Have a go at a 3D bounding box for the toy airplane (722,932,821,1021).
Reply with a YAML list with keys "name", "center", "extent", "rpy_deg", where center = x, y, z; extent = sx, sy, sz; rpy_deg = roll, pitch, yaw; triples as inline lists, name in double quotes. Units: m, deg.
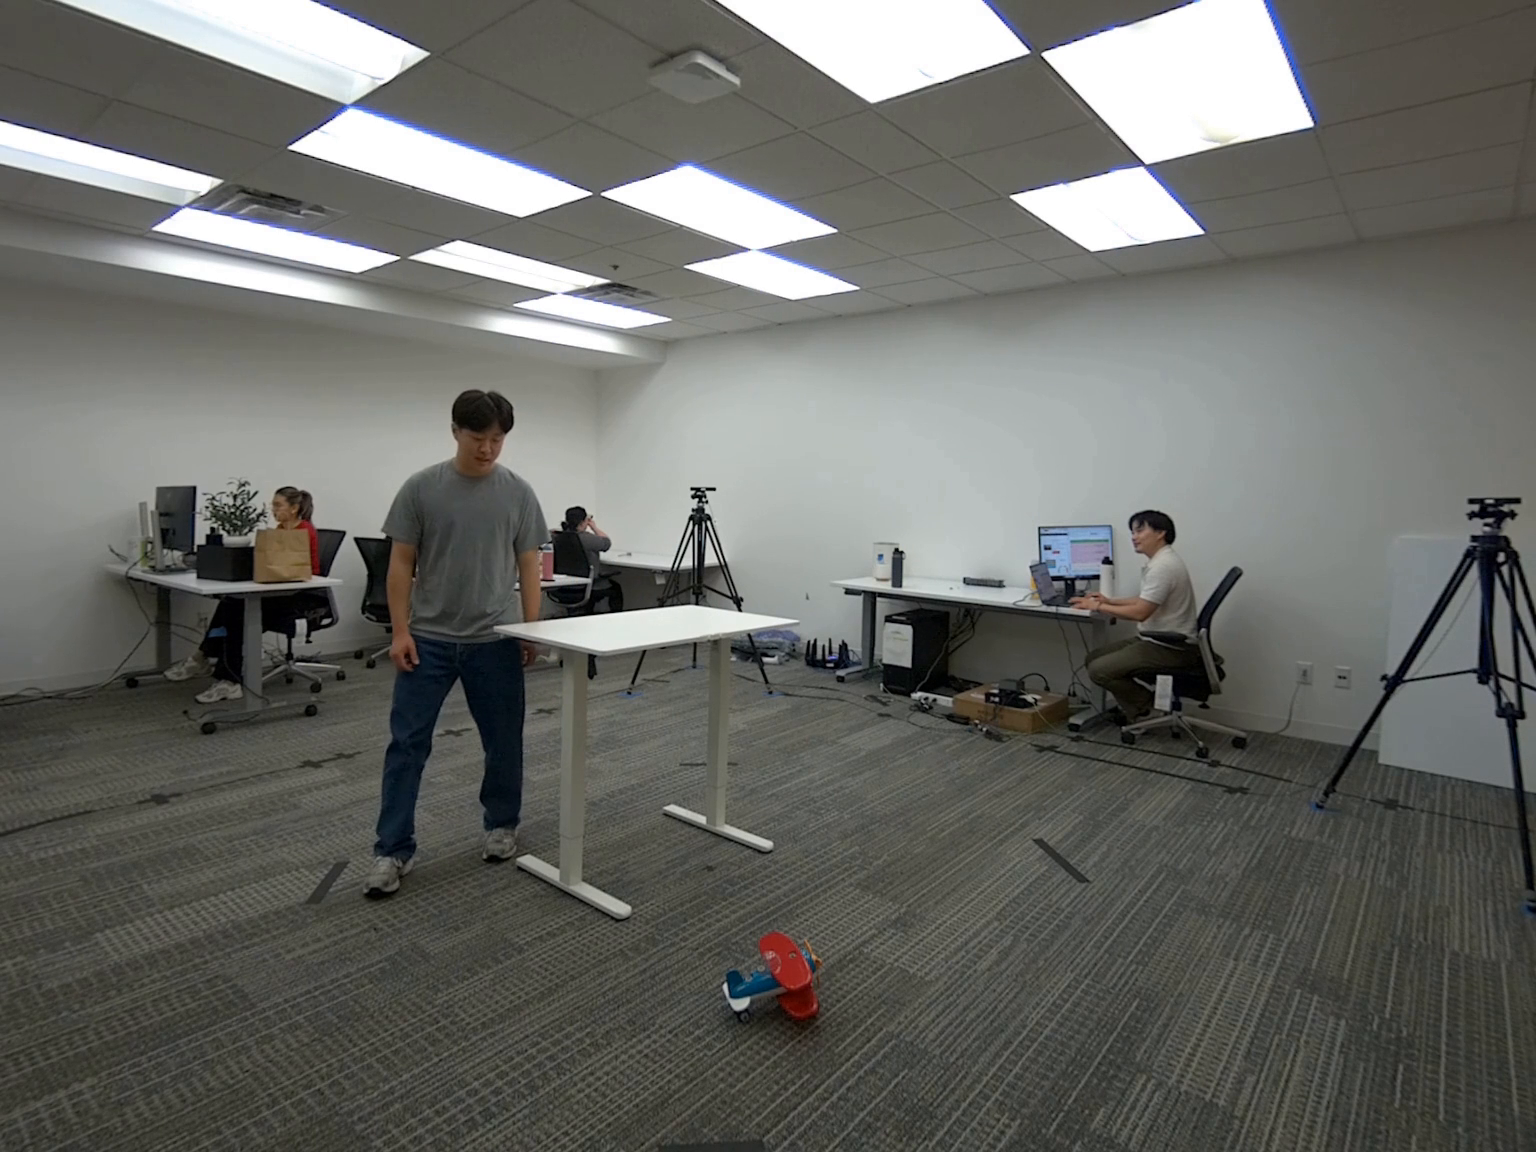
- name: "toy airplane"
  center: [0.019, 1.085, 2.239]
  extent: [0.260, 0.156, 0.251]
  rpy_deg: [6, 6, 43]
